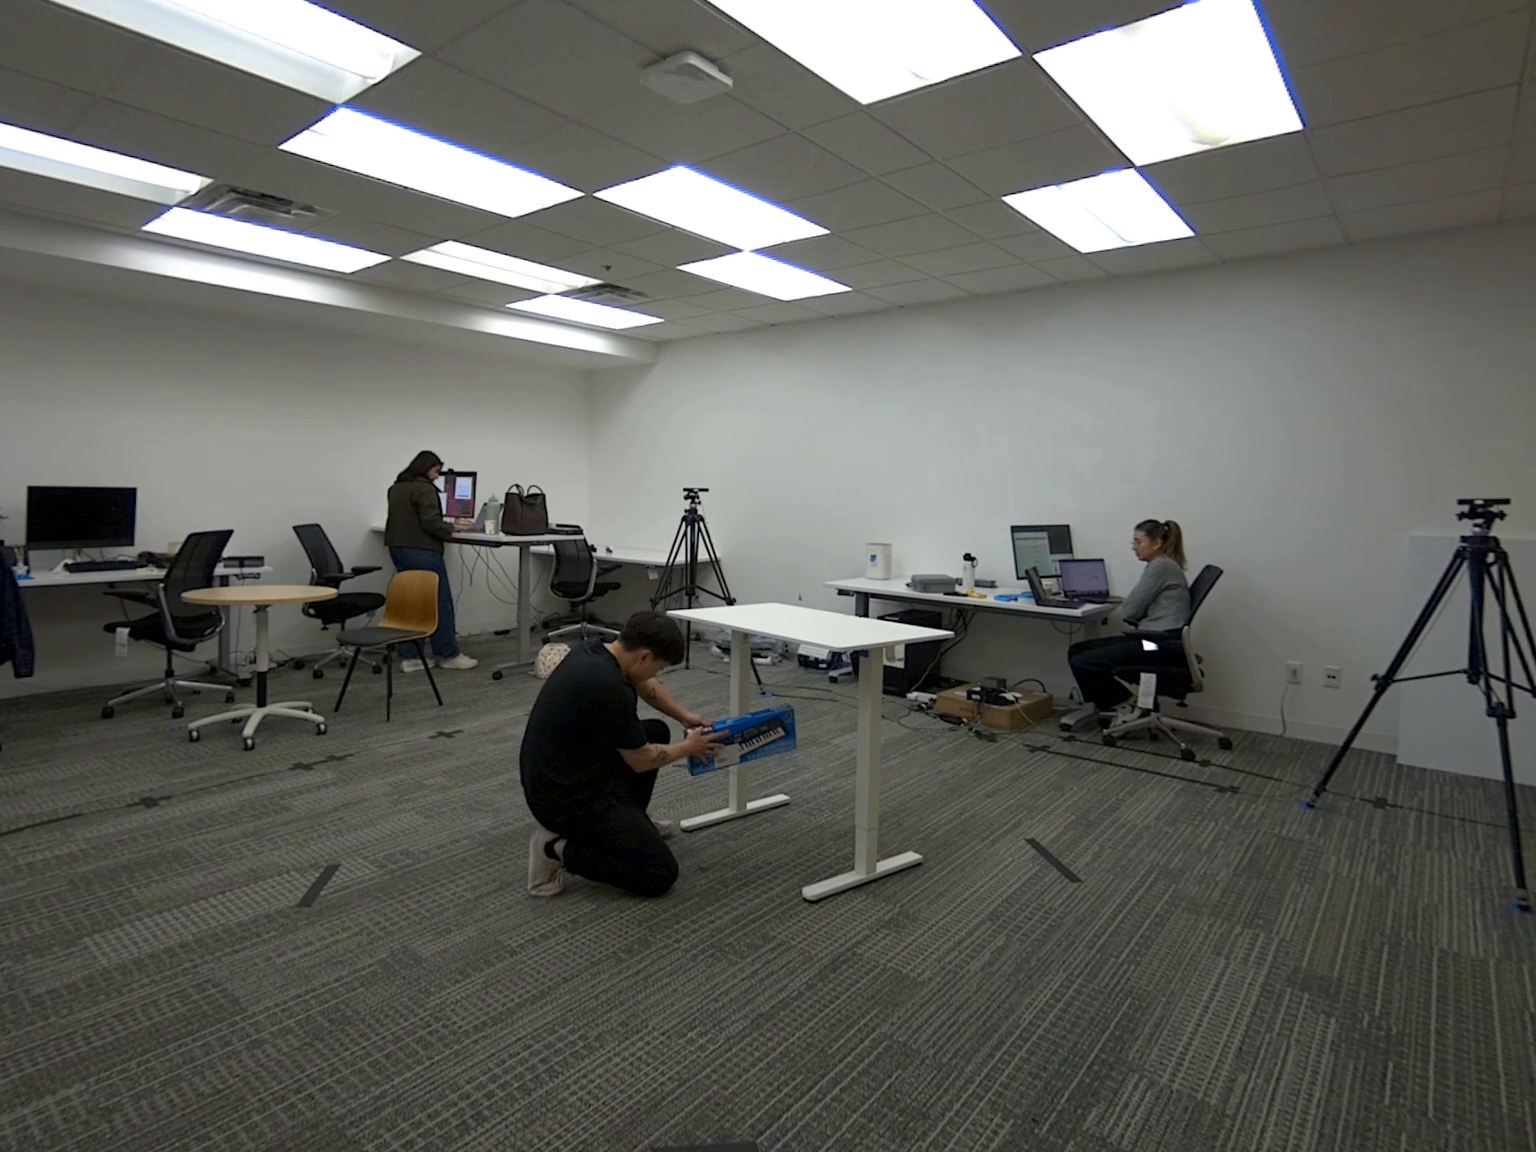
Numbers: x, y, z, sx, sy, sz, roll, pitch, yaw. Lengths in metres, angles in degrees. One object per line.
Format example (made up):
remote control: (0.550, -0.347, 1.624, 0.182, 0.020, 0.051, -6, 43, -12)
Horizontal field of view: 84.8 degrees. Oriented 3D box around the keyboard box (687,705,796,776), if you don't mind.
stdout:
keyboard box: (-0.112, 0.636, 3.270, 0.430, 0.173, 0.061, -11, 16, -18)
